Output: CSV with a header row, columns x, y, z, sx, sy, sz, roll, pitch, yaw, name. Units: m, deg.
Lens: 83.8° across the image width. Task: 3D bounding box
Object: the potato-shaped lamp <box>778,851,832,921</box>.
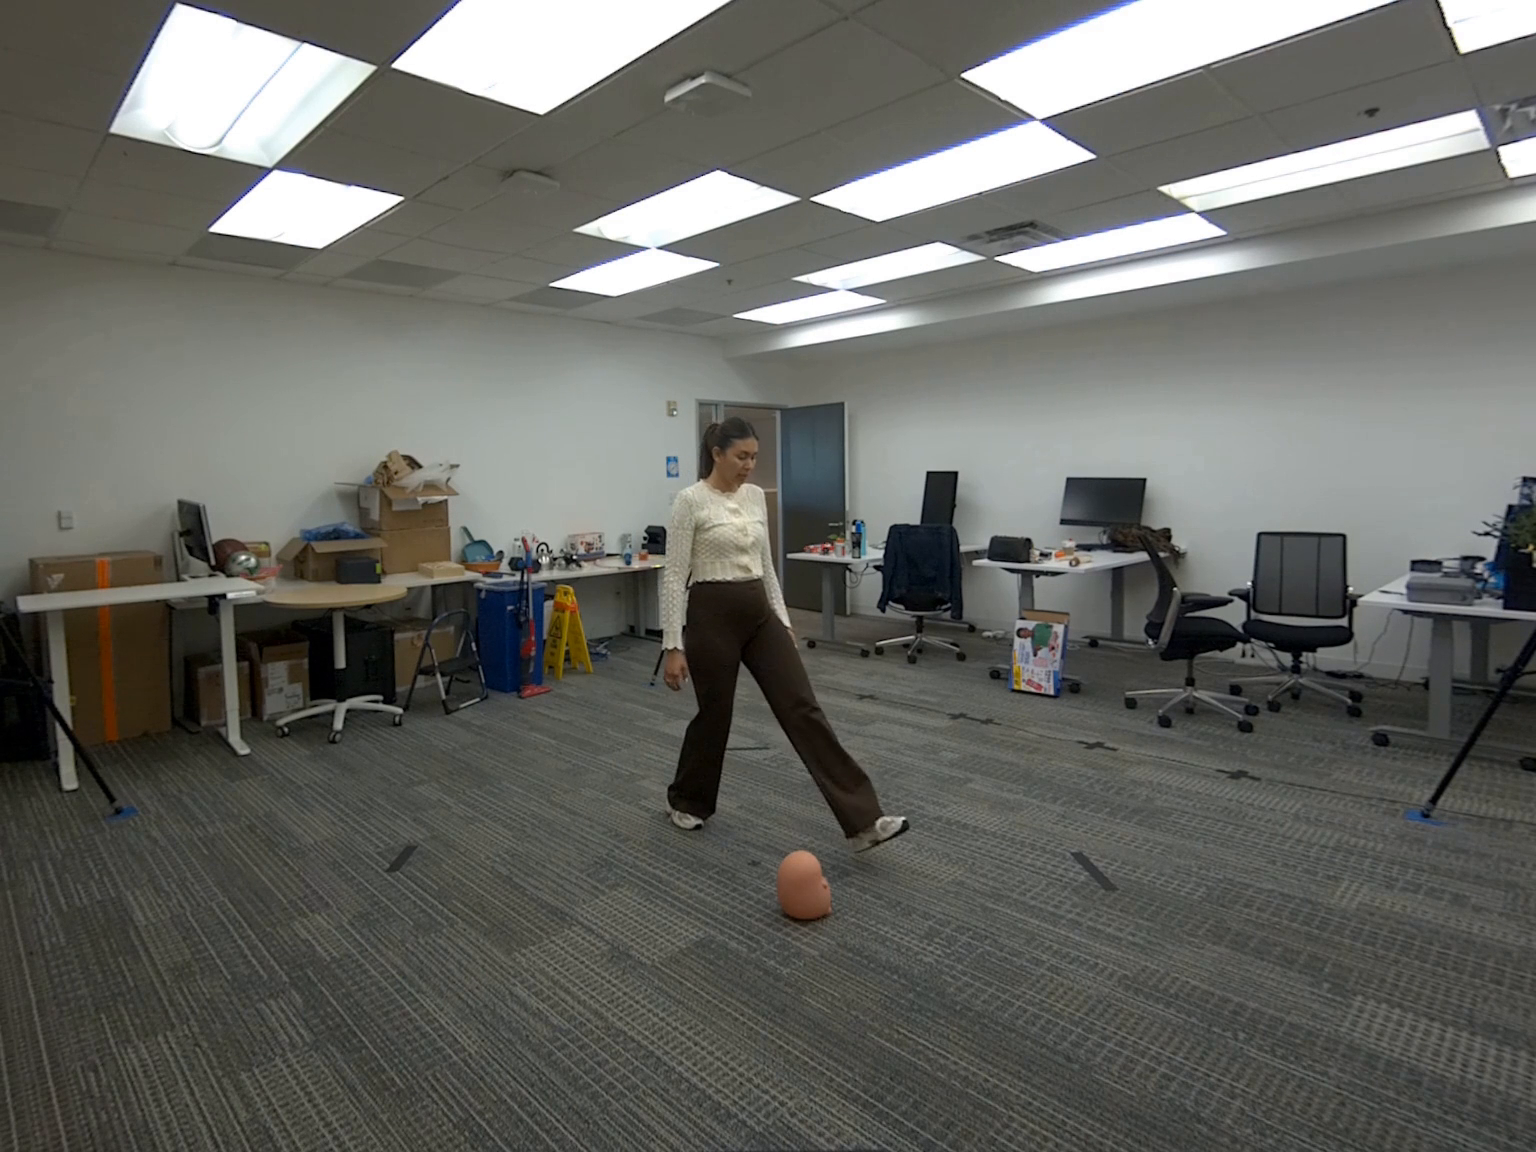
x,y,z,sx,sy,sz,roll,pitch,yaw,name
0.119,0.981,2.739,0.168,0.197,0.168,-8,7,-22,potato-shaped lamp
